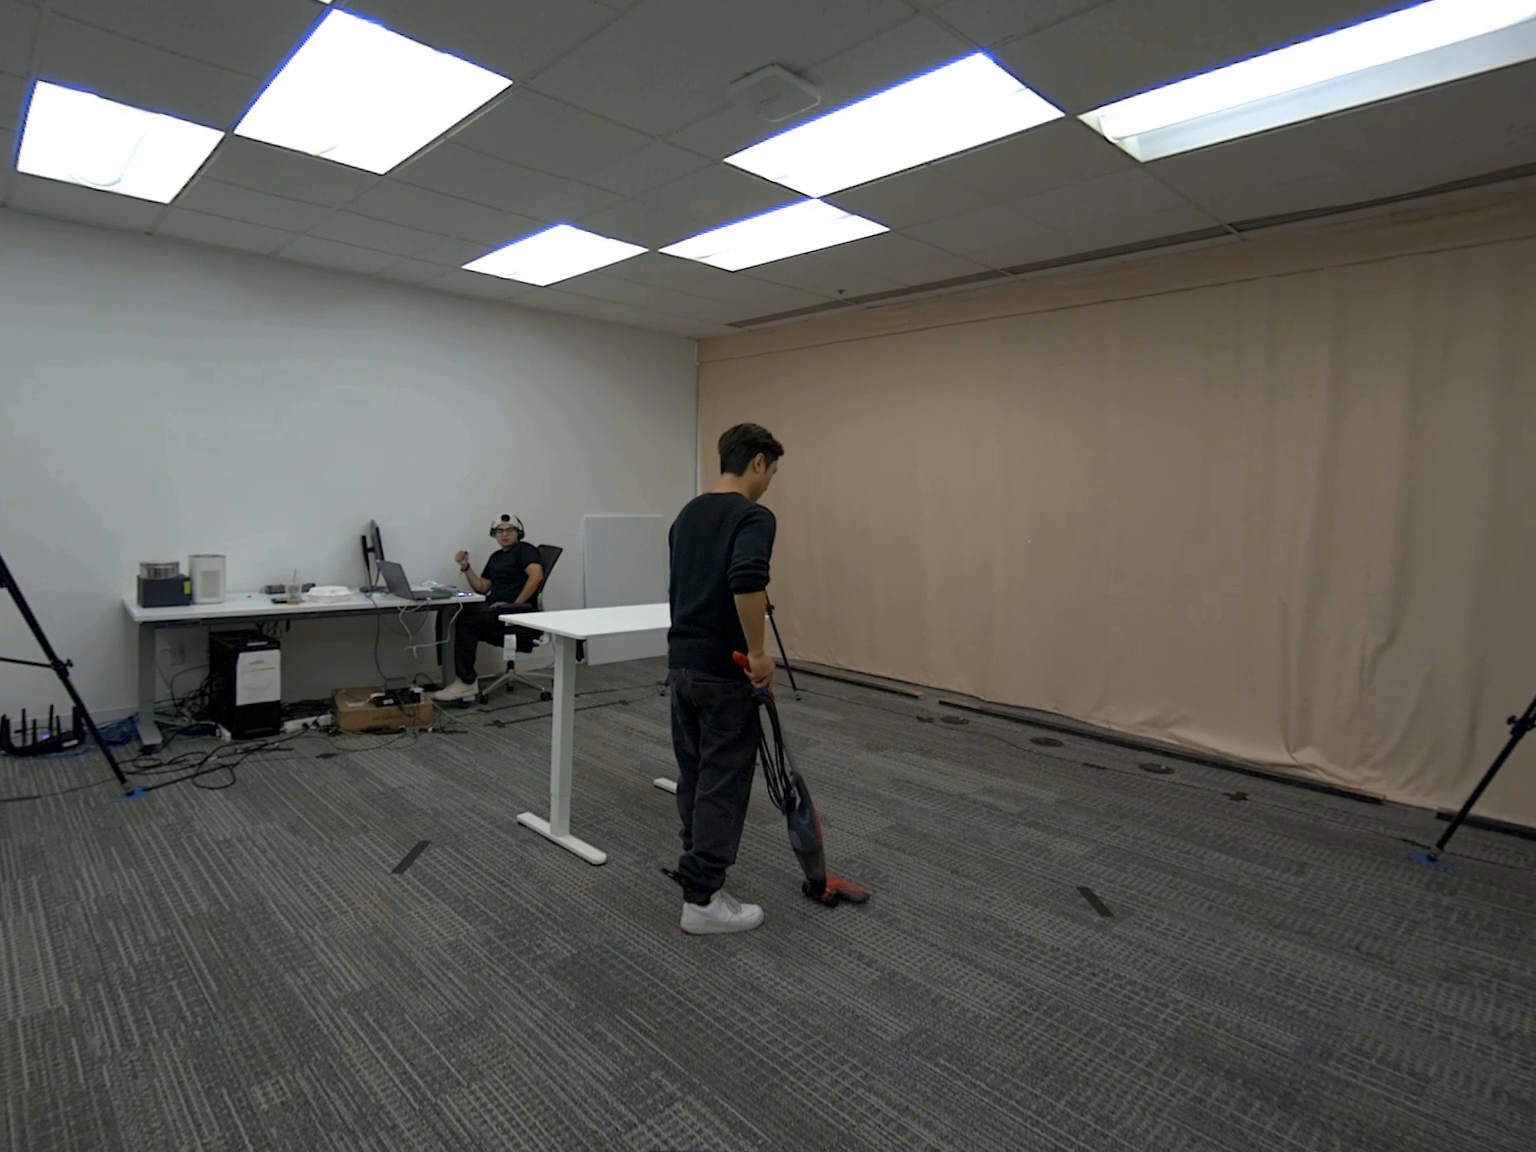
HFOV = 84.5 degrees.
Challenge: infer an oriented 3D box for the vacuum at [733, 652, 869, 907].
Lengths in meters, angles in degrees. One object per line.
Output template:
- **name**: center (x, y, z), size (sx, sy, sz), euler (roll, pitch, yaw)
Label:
- **vacuum**: center (0.066, 0.685, 2.753), size (0.259, 1.026, 0.143), euler (9, 38, 45)
